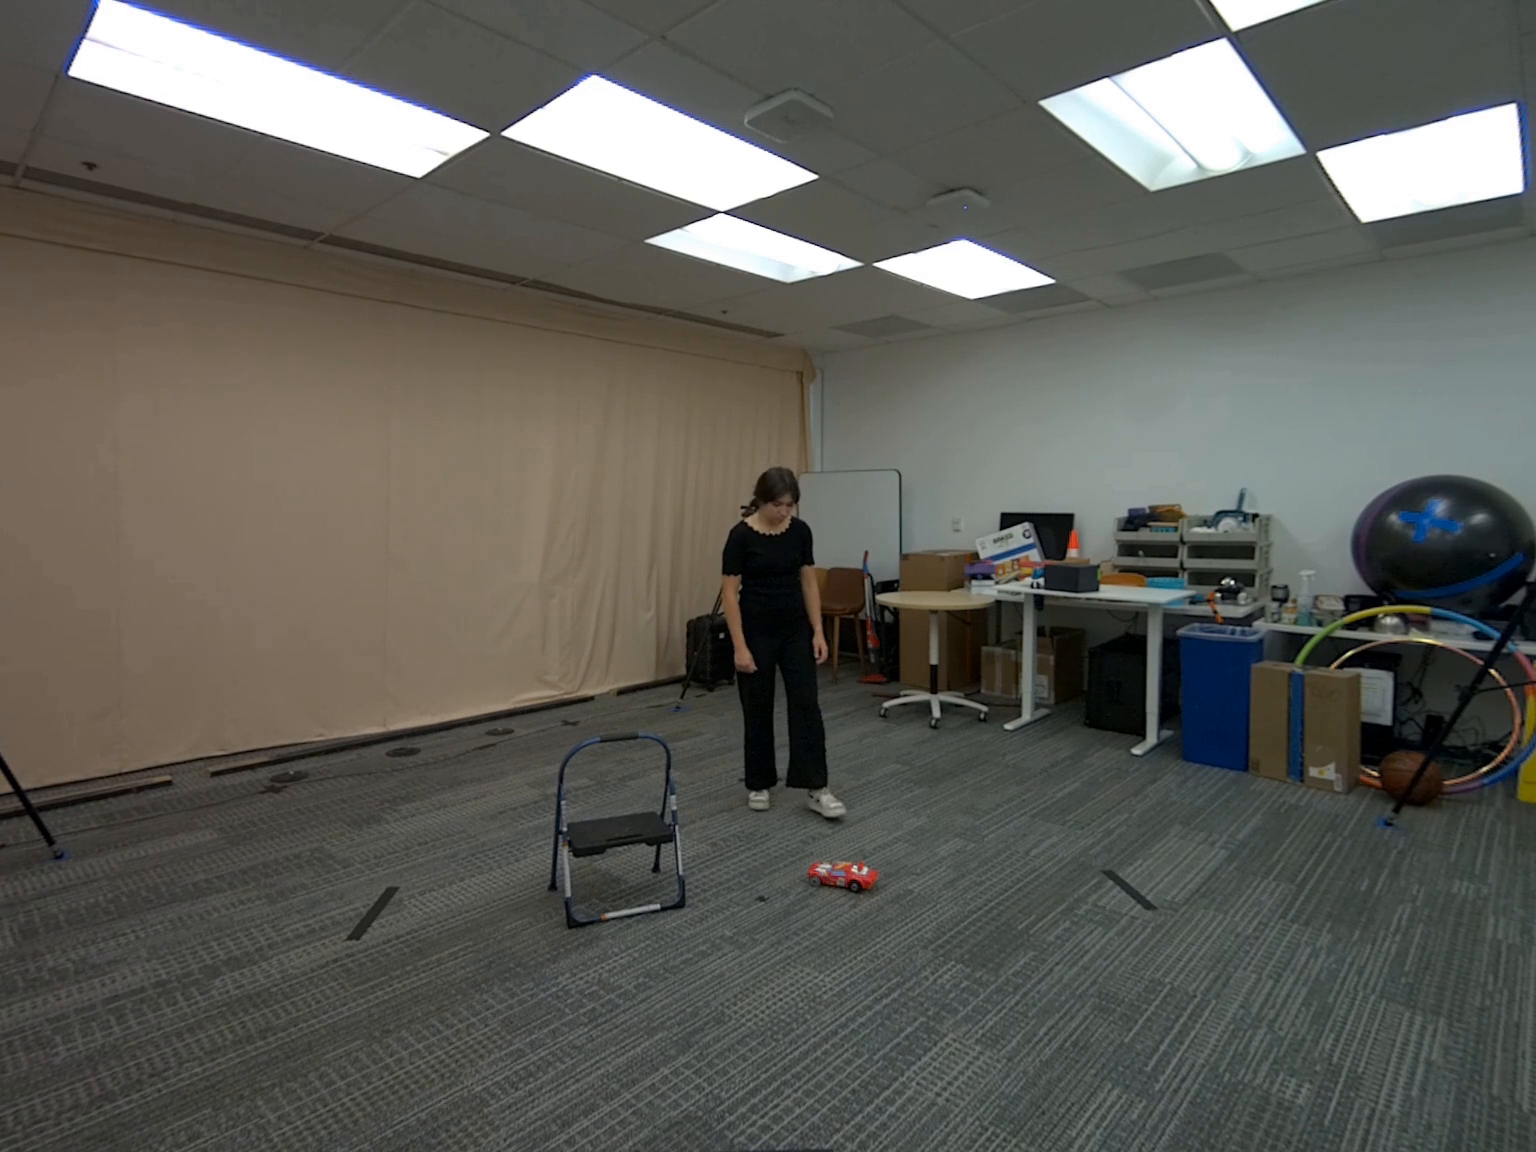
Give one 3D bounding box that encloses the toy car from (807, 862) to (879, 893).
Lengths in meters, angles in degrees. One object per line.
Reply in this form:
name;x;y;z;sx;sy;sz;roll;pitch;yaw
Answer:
toy car;0.288;1.105;3.089;0.259;0.083;0.128;-8;-1;19
